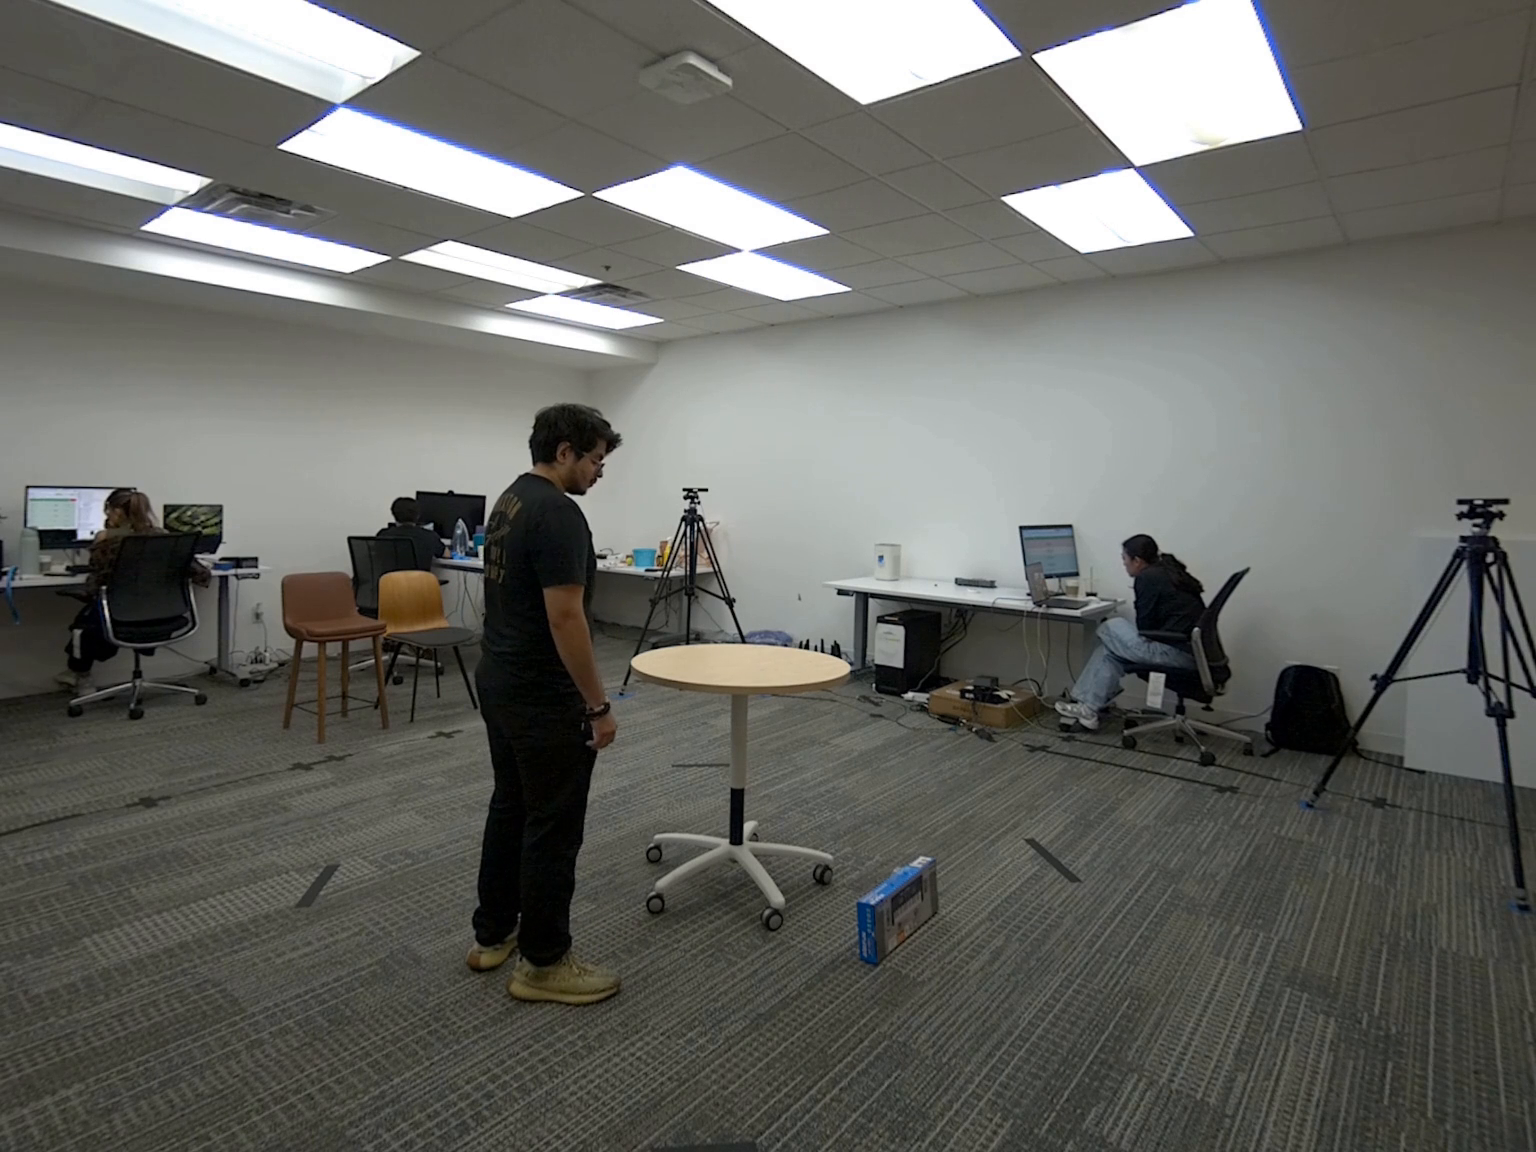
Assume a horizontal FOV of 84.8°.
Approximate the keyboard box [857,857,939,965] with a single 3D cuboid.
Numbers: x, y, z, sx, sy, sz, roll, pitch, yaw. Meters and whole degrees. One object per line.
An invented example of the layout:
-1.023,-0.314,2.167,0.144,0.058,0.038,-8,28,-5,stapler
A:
0.416,1.042,2.681,0.061,0.176,0.424,-3,1,35,keyboard box
